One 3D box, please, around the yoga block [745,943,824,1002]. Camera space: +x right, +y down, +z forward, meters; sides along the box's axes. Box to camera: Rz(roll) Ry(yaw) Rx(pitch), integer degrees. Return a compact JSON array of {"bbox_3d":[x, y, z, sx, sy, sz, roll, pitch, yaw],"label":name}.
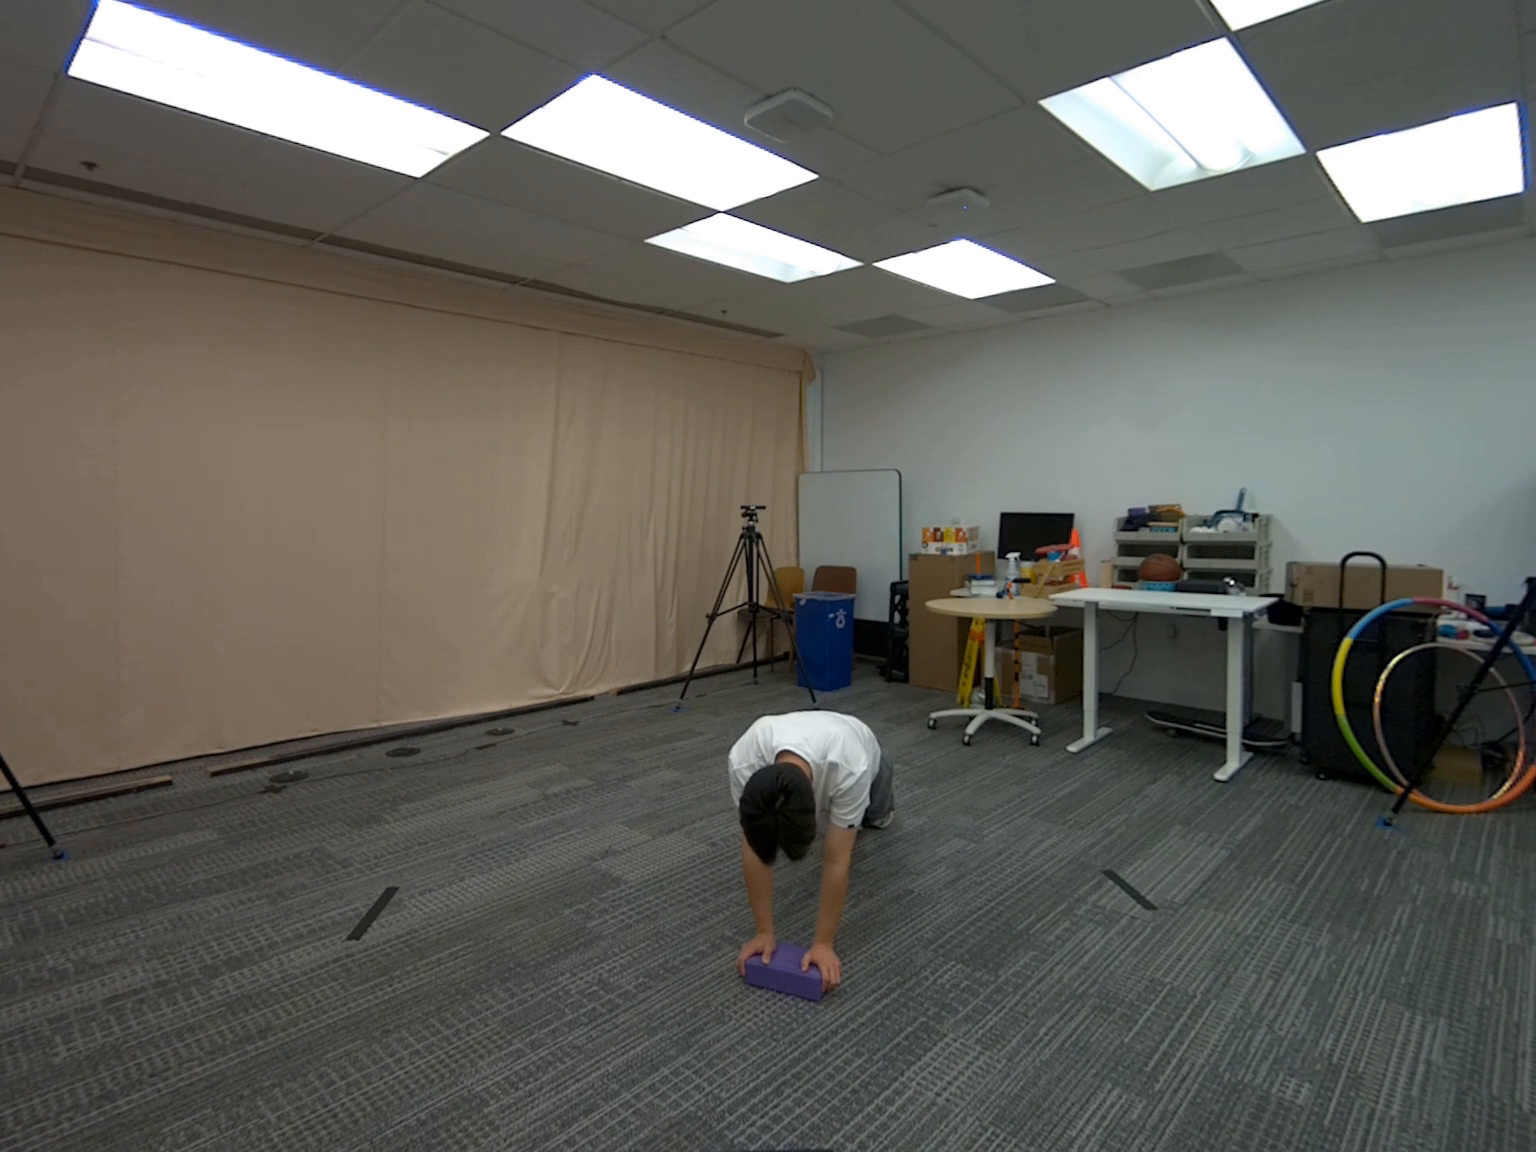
[{"bbox_3d":[0.069,1.156,2.461,0.235,0.076,0.145,3,7,25],"label":"yoga block"}]
